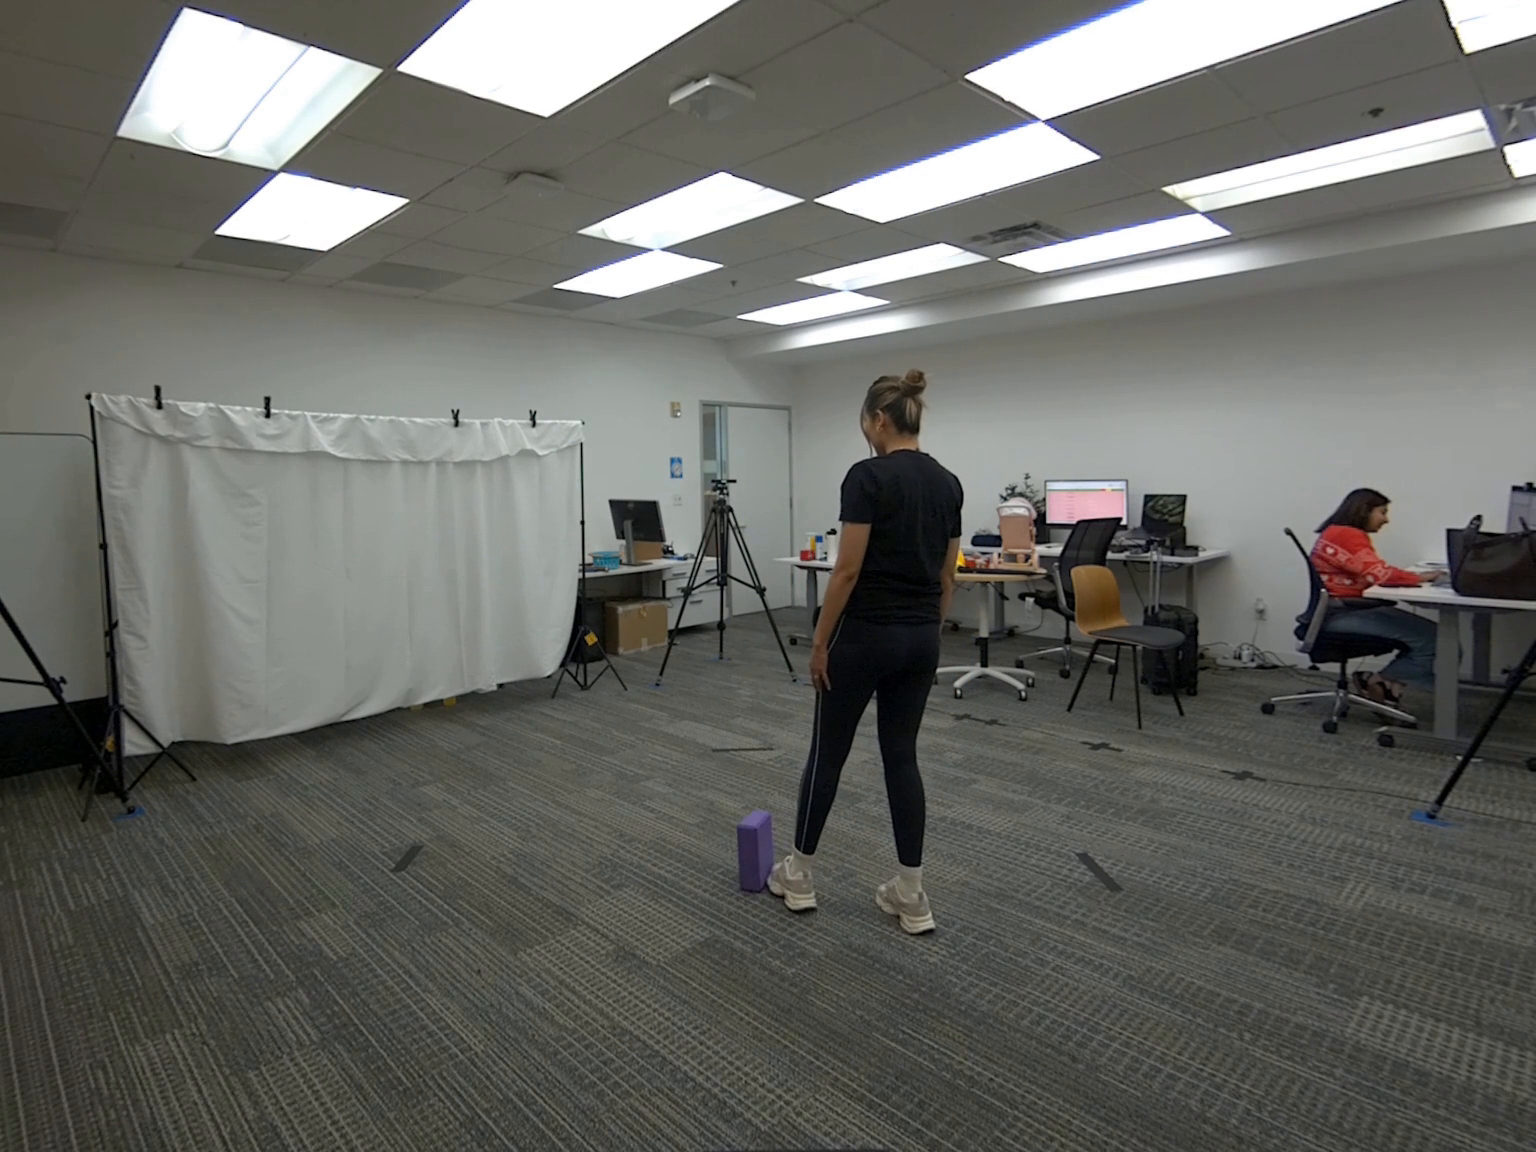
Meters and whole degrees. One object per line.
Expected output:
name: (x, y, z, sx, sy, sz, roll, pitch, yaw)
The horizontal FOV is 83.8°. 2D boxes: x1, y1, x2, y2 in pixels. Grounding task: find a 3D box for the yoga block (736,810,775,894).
yoga block: (-0.036, 0.948, 2.953, 0.078, 0.228, 0.147, -1, 4, 19)
